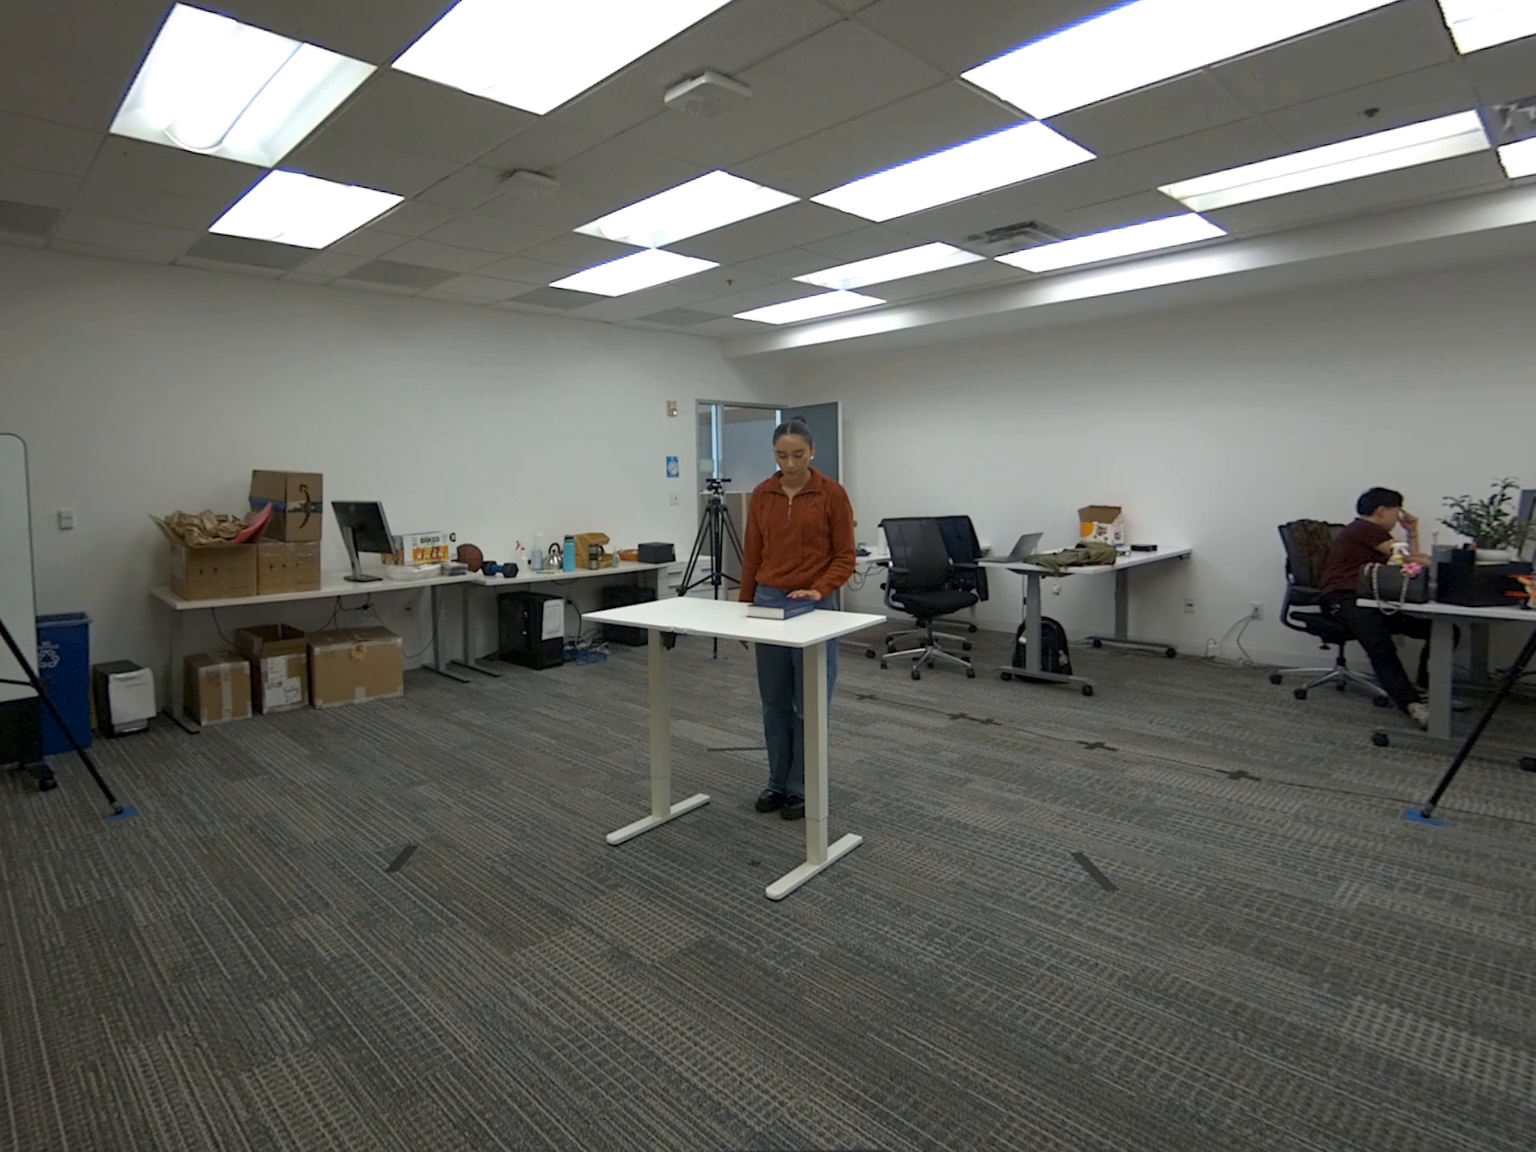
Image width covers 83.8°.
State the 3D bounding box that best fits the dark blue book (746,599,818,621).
[{"bbox_3d":[0.047,0.128,3.250,0.168,0.045,0.240,3,7,30],"label":"dark blue book"}]
